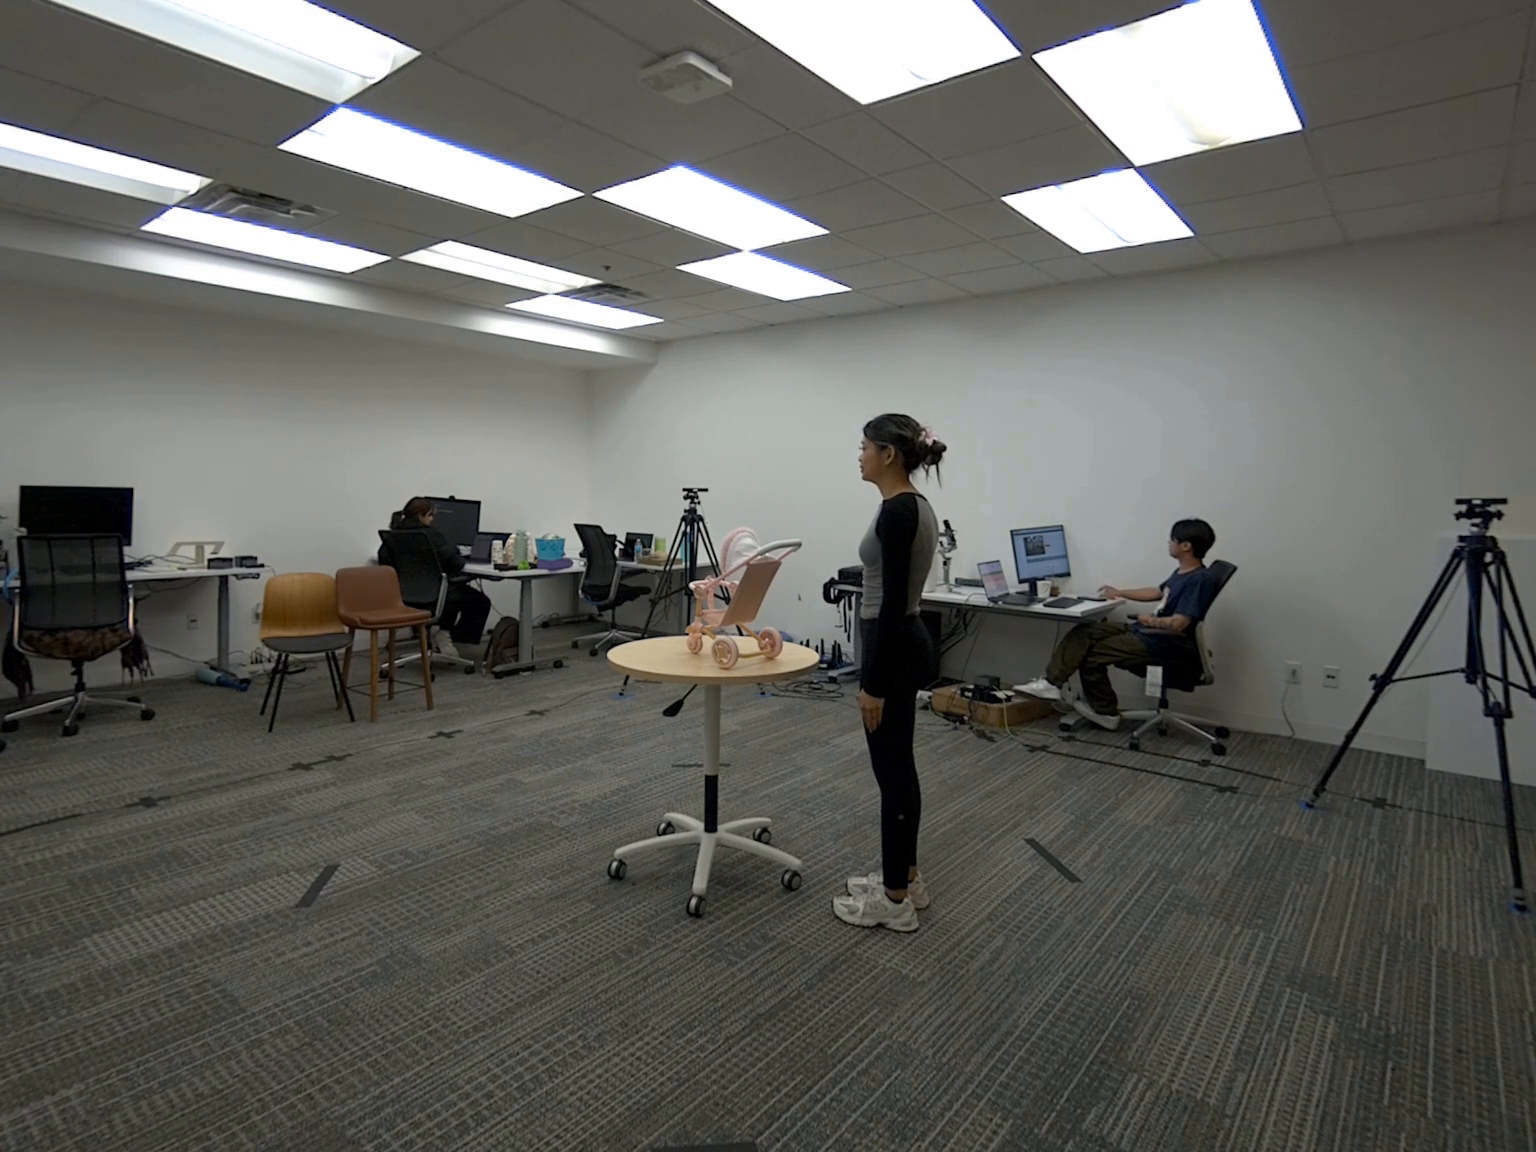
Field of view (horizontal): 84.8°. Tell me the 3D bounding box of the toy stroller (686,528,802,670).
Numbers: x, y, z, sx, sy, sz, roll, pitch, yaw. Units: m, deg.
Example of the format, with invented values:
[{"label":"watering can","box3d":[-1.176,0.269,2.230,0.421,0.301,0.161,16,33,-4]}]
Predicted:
[{"label":"toy stroller","box3d":[-0.122,0.067,2.951,0.355,0.530,0.273,26,19,40]}]
